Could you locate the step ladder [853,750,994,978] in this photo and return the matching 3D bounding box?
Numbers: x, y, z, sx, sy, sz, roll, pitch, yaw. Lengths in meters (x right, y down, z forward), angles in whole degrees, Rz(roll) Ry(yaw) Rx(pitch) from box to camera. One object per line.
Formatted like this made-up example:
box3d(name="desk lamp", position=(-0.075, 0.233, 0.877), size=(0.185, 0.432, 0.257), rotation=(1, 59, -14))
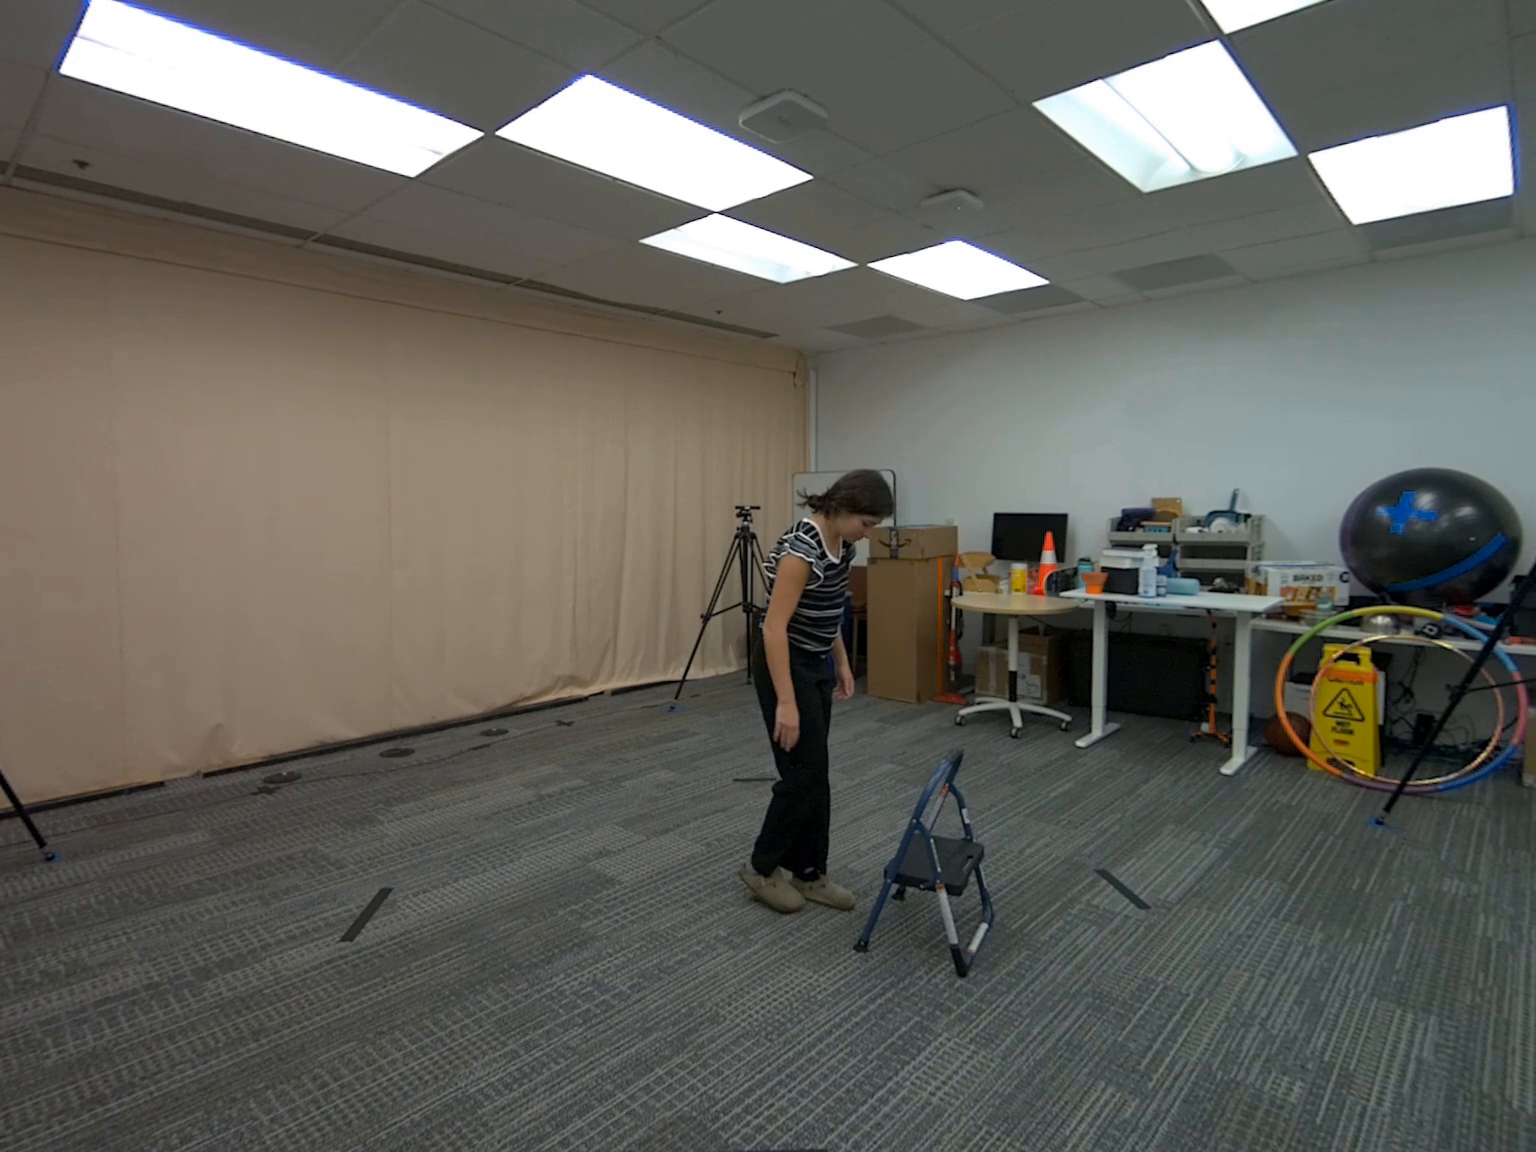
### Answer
box3d(name="step ladder", position=(0.522, 0.864, 2.719), size=(0.359, 0.605, 0.420), rotation=(1, 4, 27))
